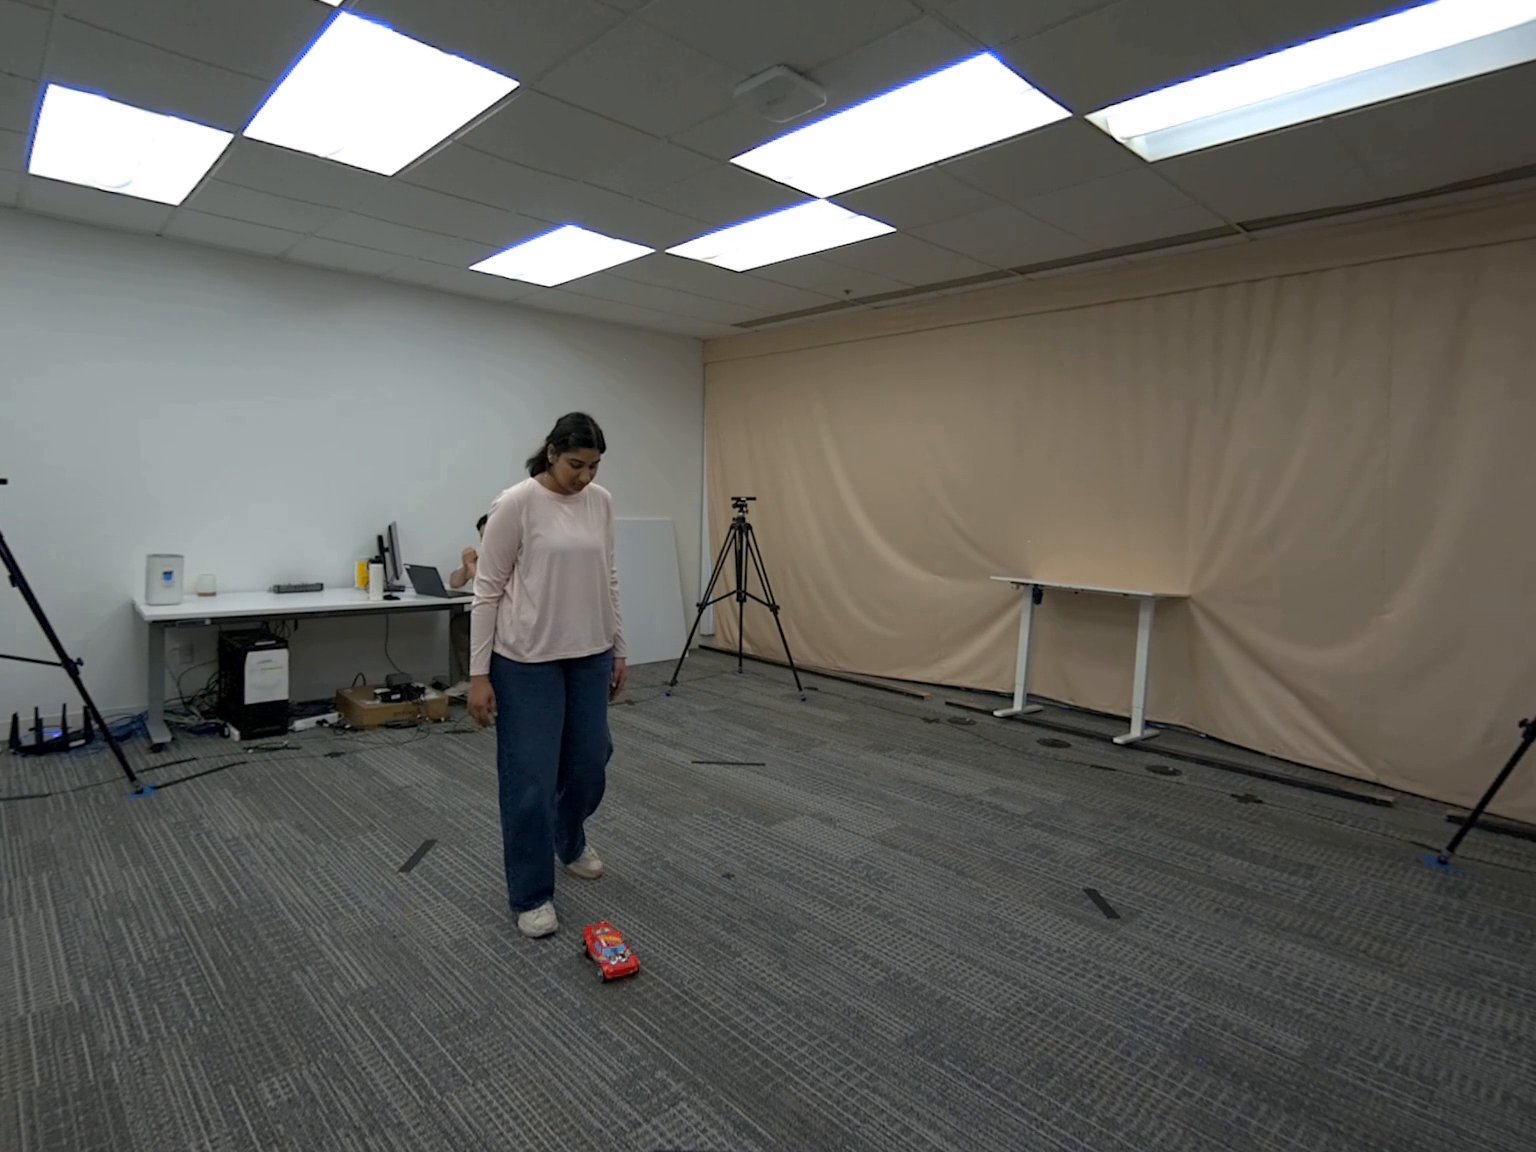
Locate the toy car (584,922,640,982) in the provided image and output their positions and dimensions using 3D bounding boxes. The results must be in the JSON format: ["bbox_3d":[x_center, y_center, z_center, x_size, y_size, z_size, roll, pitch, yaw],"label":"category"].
[{"bbox_3d":[-0.482,1.124,2.509,0.128,0.082,0.262,-2,16,-28],"label":"toy car"}]
